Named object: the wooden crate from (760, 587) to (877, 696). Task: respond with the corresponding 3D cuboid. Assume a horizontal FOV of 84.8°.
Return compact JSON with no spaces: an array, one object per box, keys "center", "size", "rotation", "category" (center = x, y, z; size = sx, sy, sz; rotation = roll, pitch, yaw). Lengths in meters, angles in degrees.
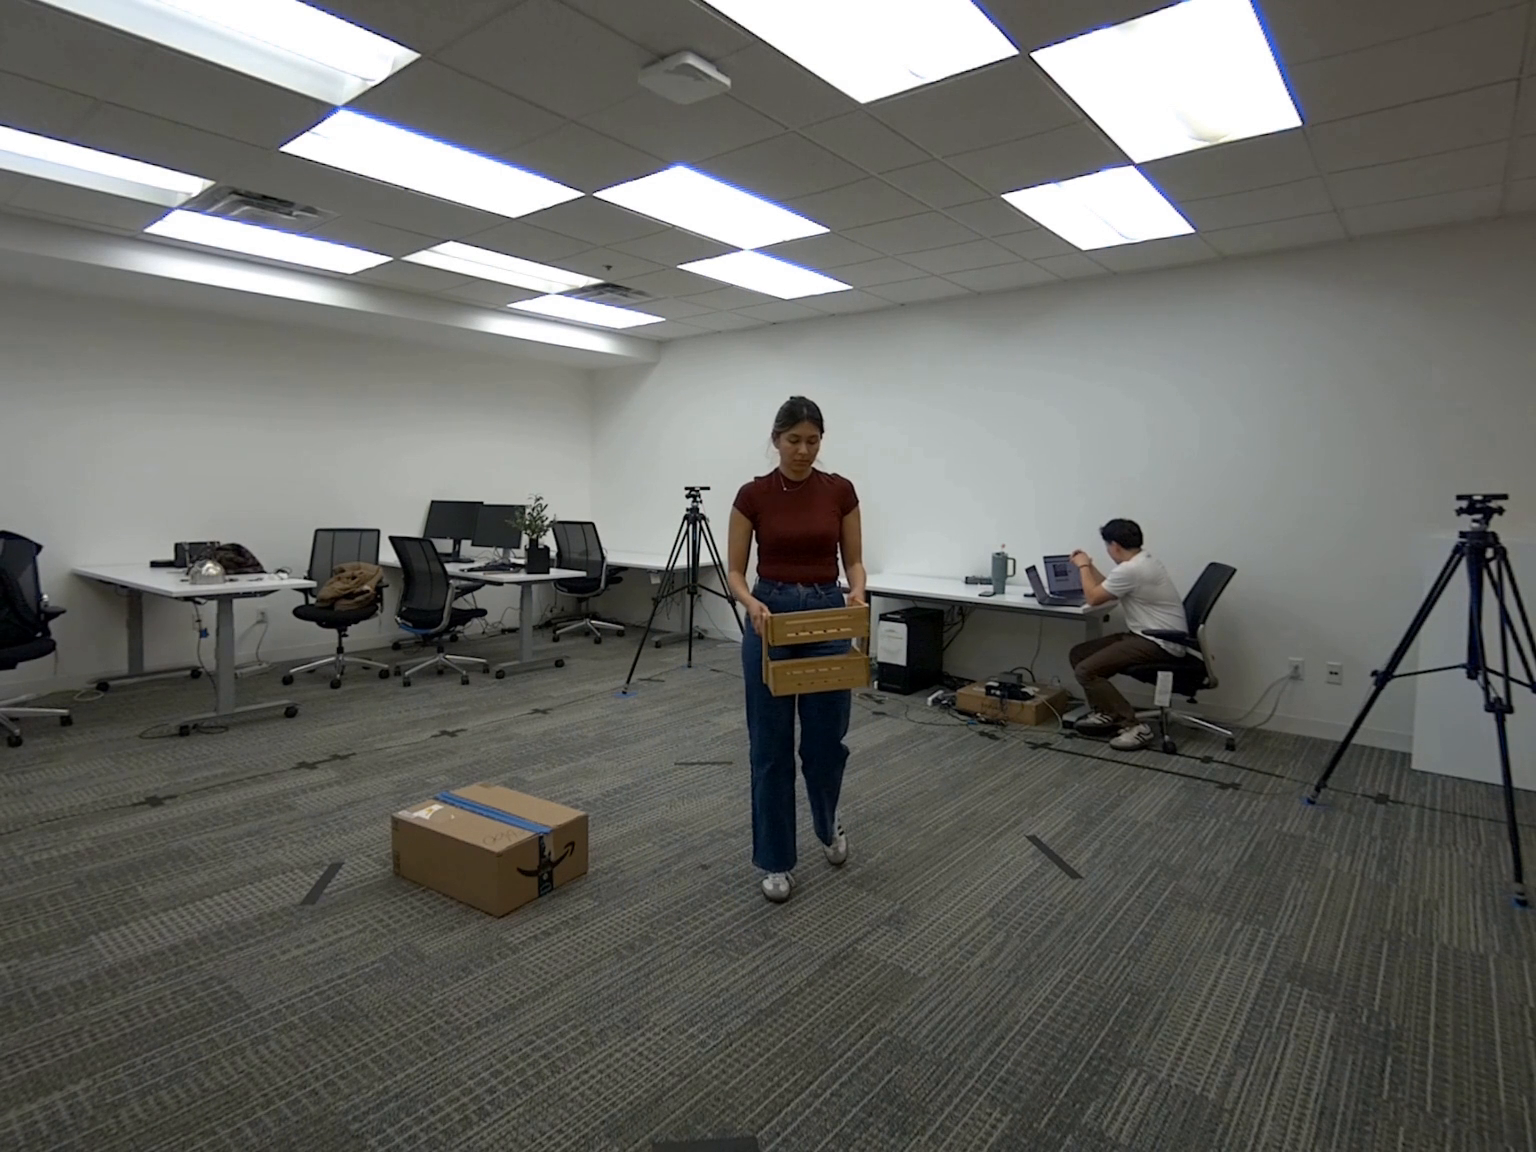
[{"center":[0.132,0.208,2.678],"size":[0.322,0.271,0.306],"rotation":[-5,7,-8],"category":"wooden crate"}]
